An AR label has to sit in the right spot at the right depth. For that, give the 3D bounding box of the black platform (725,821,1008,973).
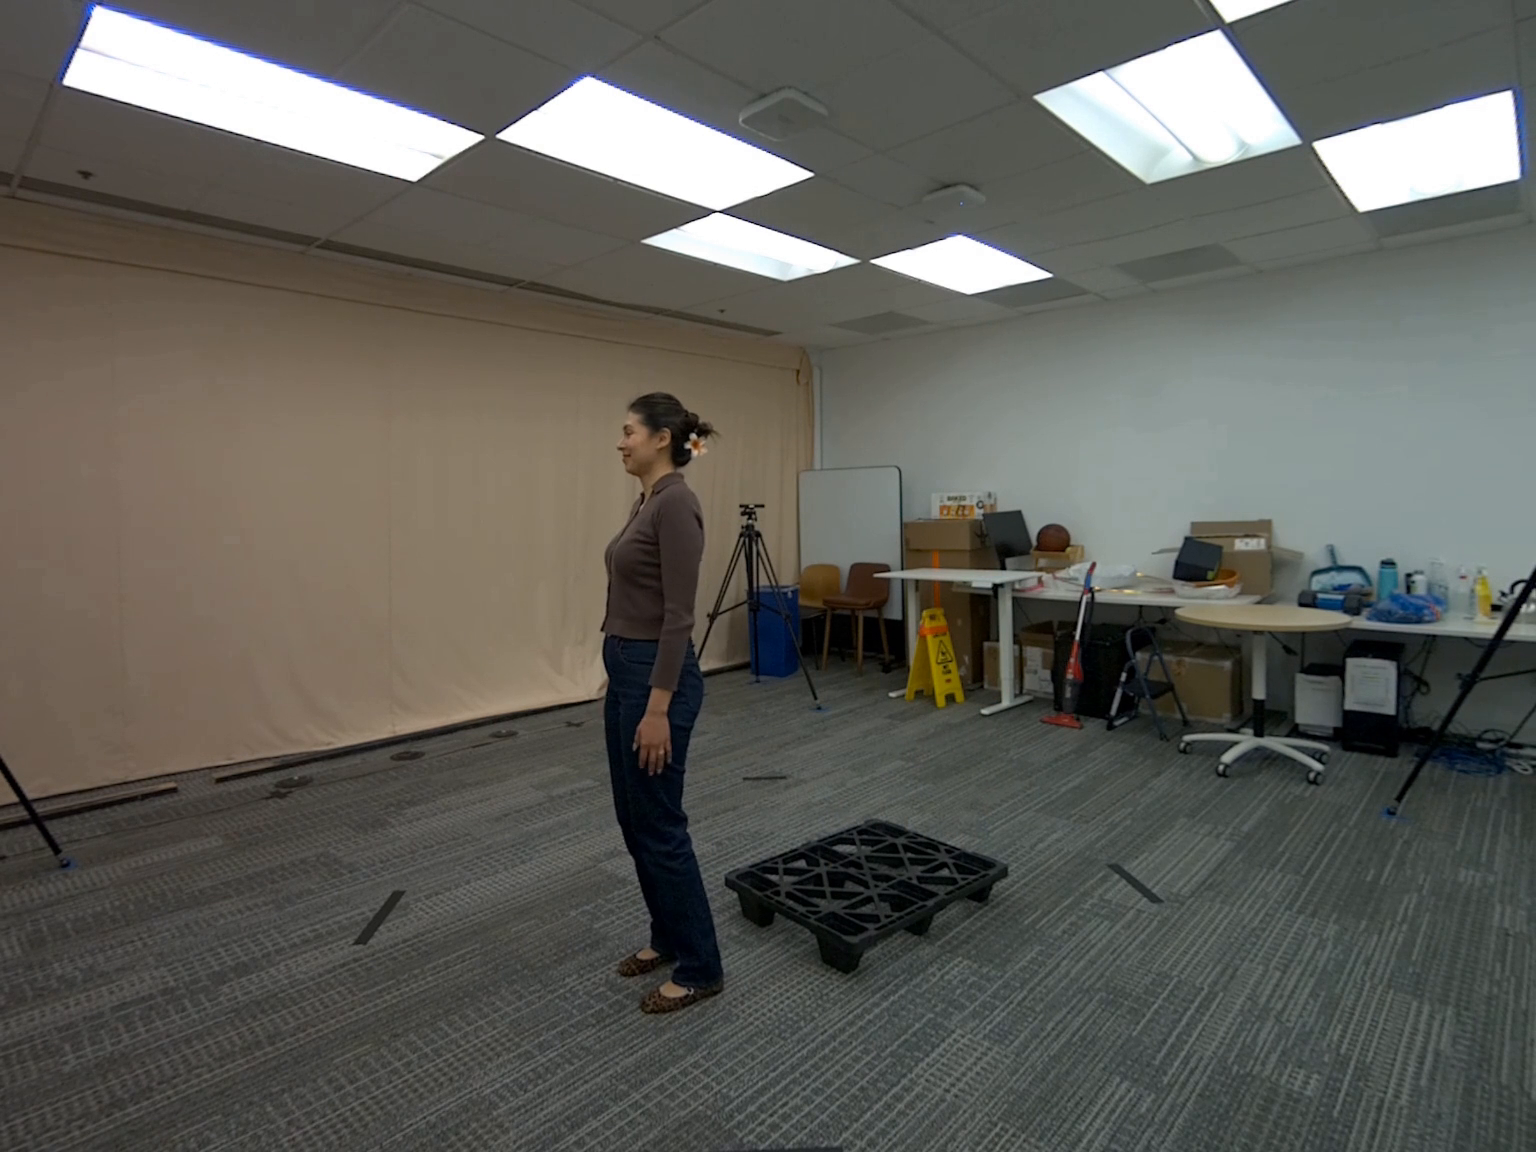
[{"bbox_3d":[0.340,1.076,2.889,0.781,0.143,0.625,-5,6,-40],"label":"black platform"}]
